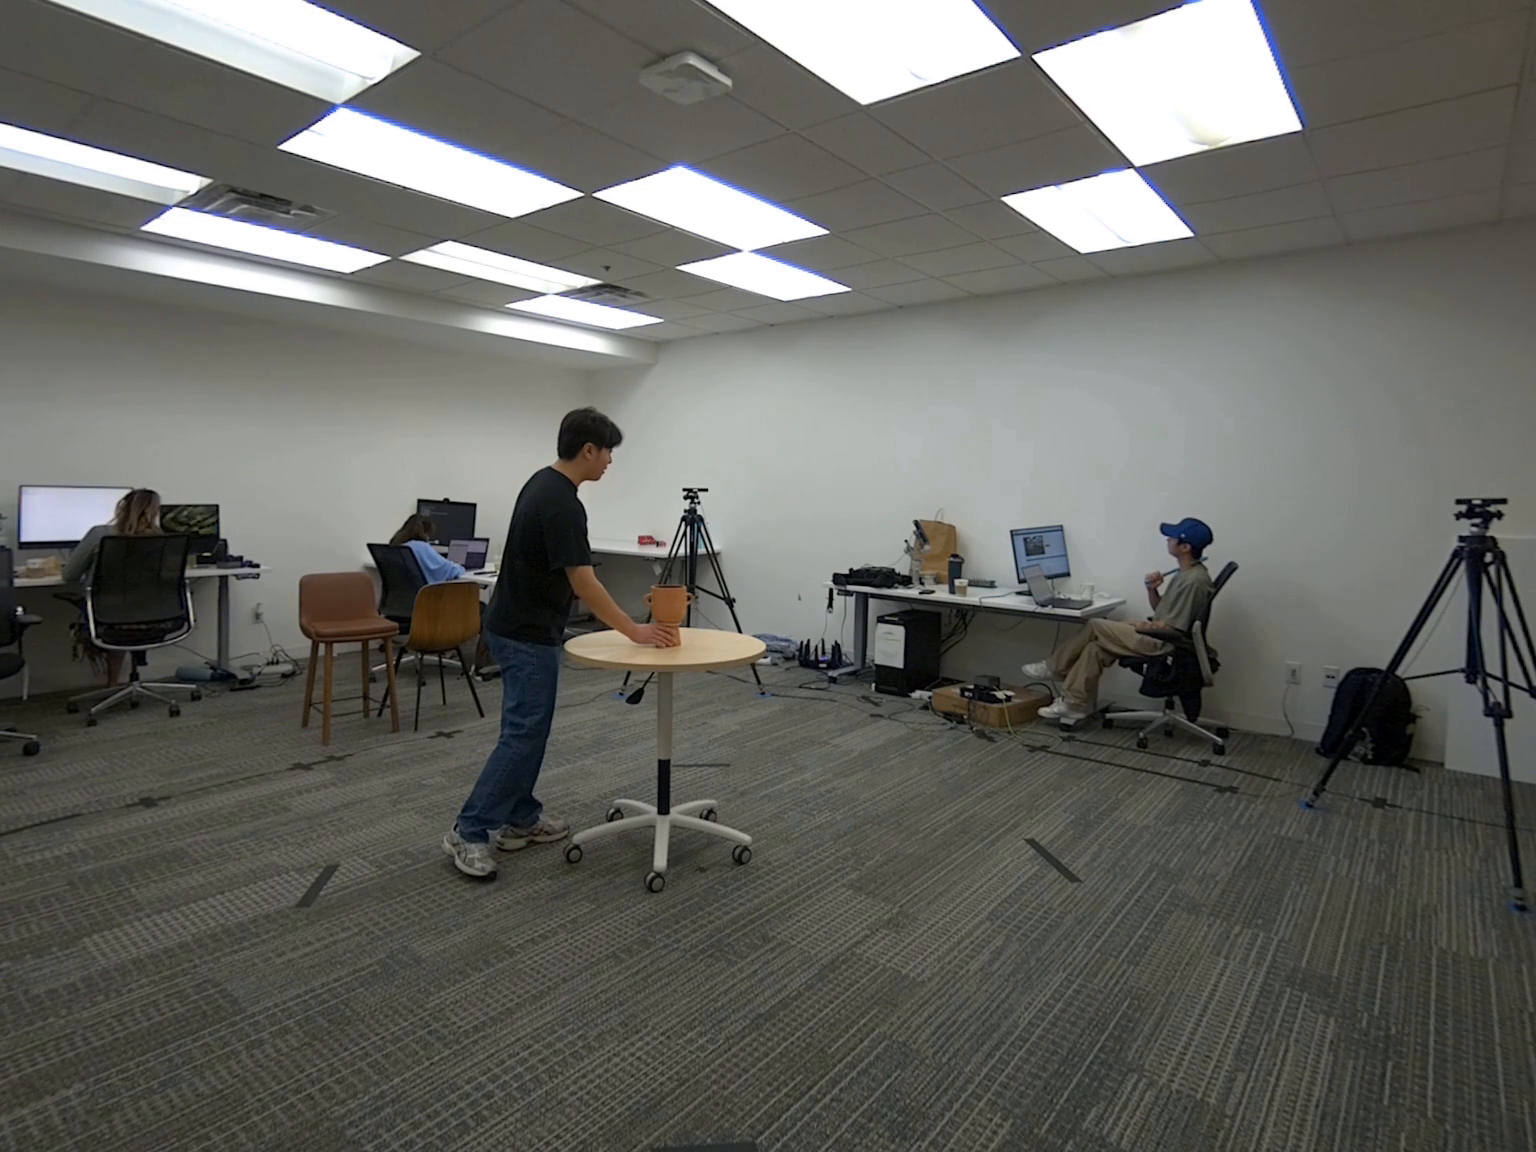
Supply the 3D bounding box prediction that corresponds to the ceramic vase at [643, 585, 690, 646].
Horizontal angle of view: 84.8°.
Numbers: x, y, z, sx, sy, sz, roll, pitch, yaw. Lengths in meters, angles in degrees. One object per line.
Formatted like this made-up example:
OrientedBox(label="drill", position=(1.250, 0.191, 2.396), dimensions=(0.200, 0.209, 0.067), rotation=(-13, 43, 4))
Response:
OrientedBox(label="ceramic vase", position=(-0.393, 0.152, 3.229), dimensions=(0.162, 0.219, 0.132), rotation=(2, 5, 19))
